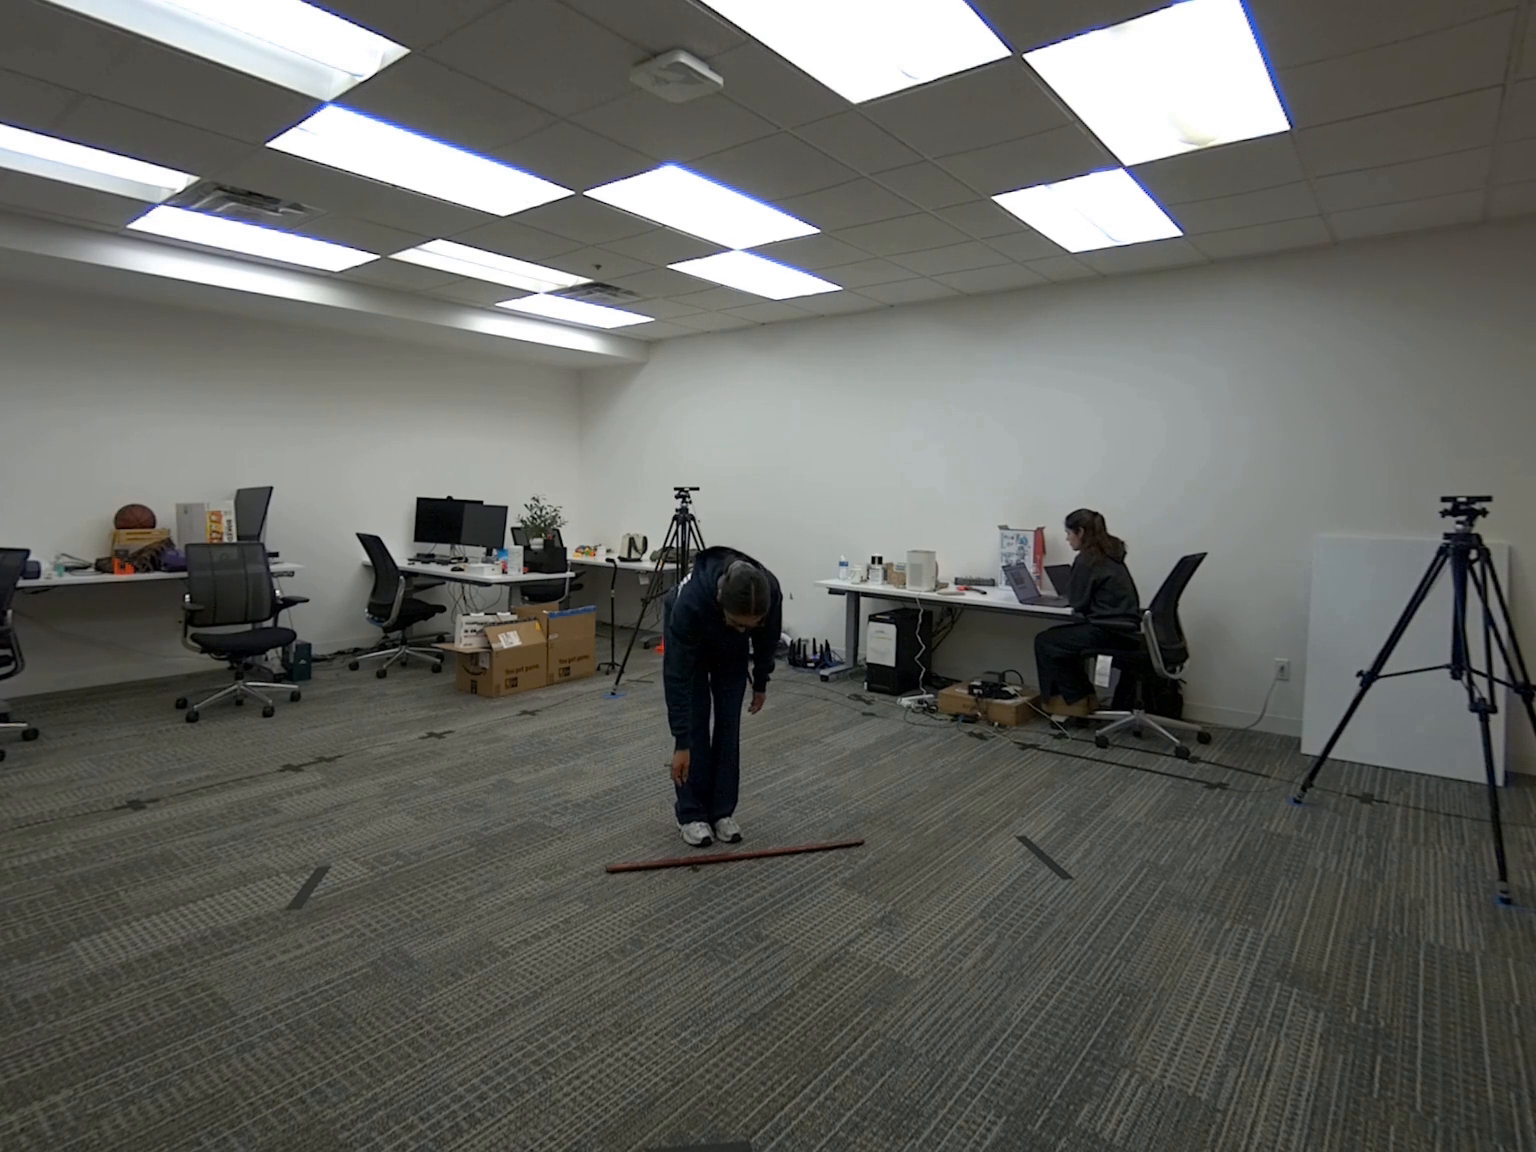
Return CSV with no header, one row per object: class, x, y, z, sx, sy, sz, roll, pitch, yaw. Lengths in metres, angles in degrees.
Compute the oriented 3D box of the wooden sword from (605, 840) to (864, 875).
wooden sword,-0.108,1.036,3.200,1.008,0.024,0.051,-1,-14,-16
